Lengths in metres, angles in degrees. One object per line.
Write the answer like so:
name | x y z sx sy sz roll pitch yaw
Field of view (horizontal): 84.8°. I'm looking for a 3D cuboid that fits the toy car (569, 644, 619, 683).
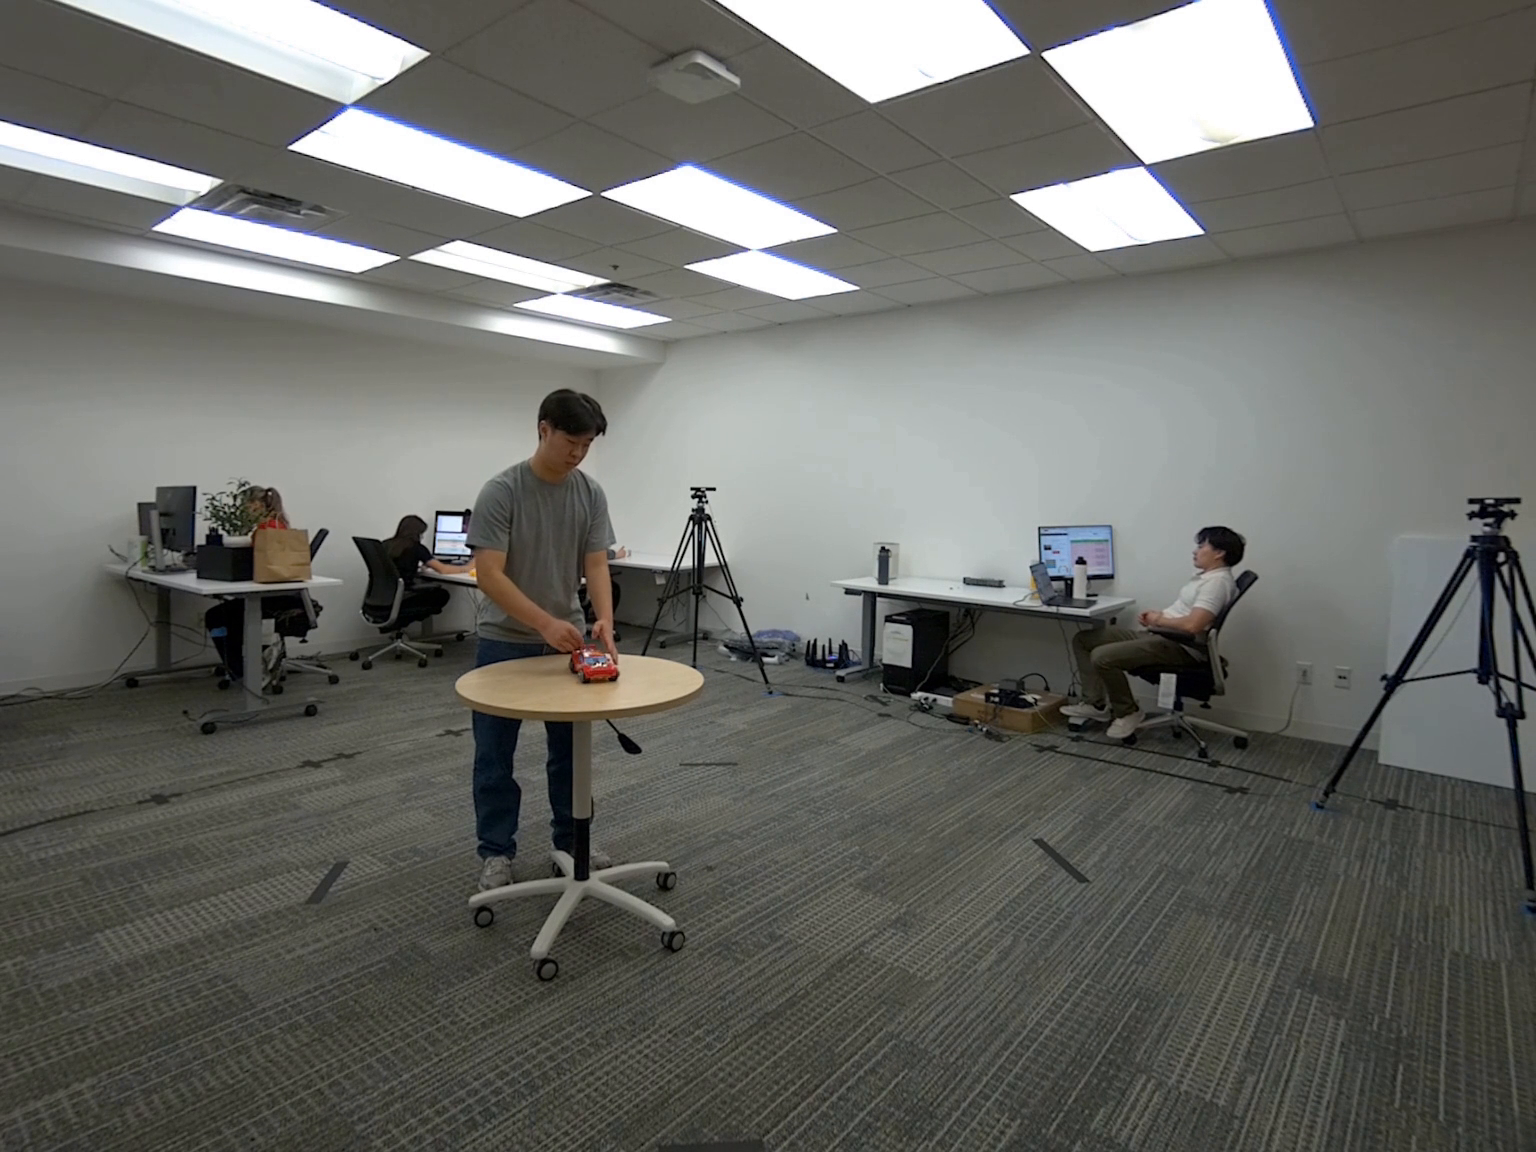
toy car | -0.581 0.286 2.713 0.127 0.082 0.263 -2 16 -25
